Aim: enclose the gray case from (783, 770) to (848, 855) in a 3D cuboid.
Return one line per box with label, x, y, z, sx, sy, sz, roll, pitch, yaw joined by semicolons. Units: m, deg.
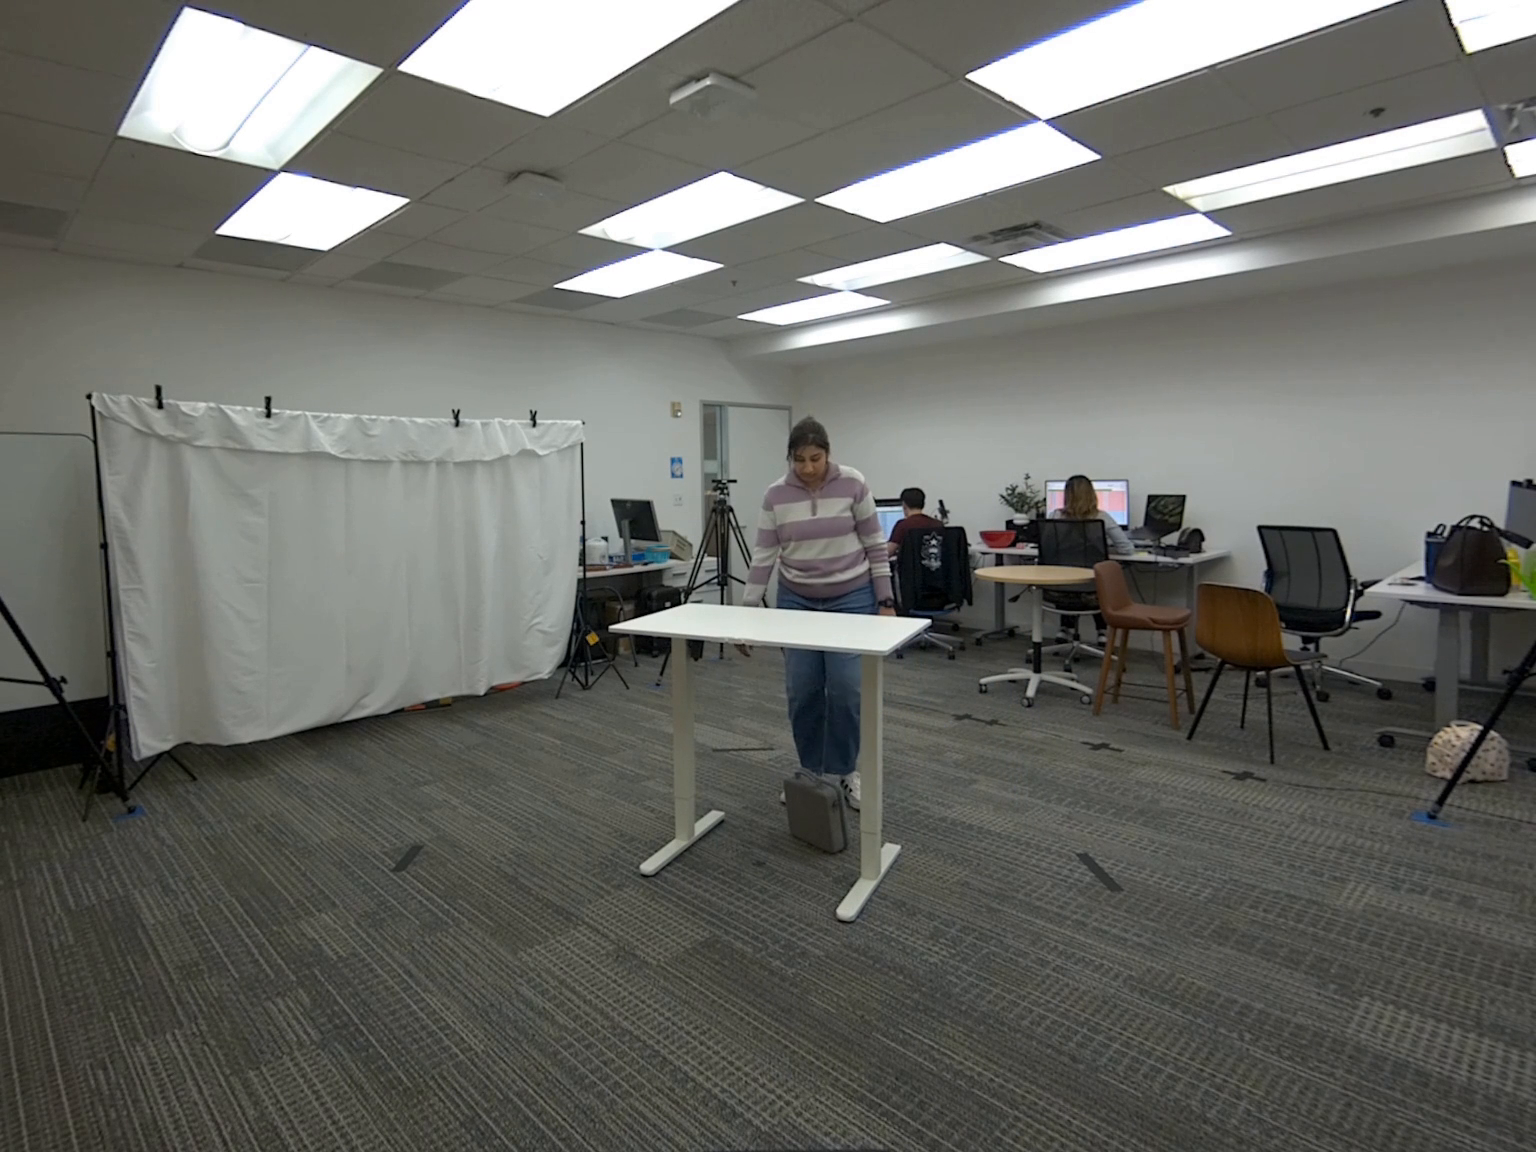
gray case;0.191;0.898;3.264;0.102;0.258;0.265;-13;12;-36
